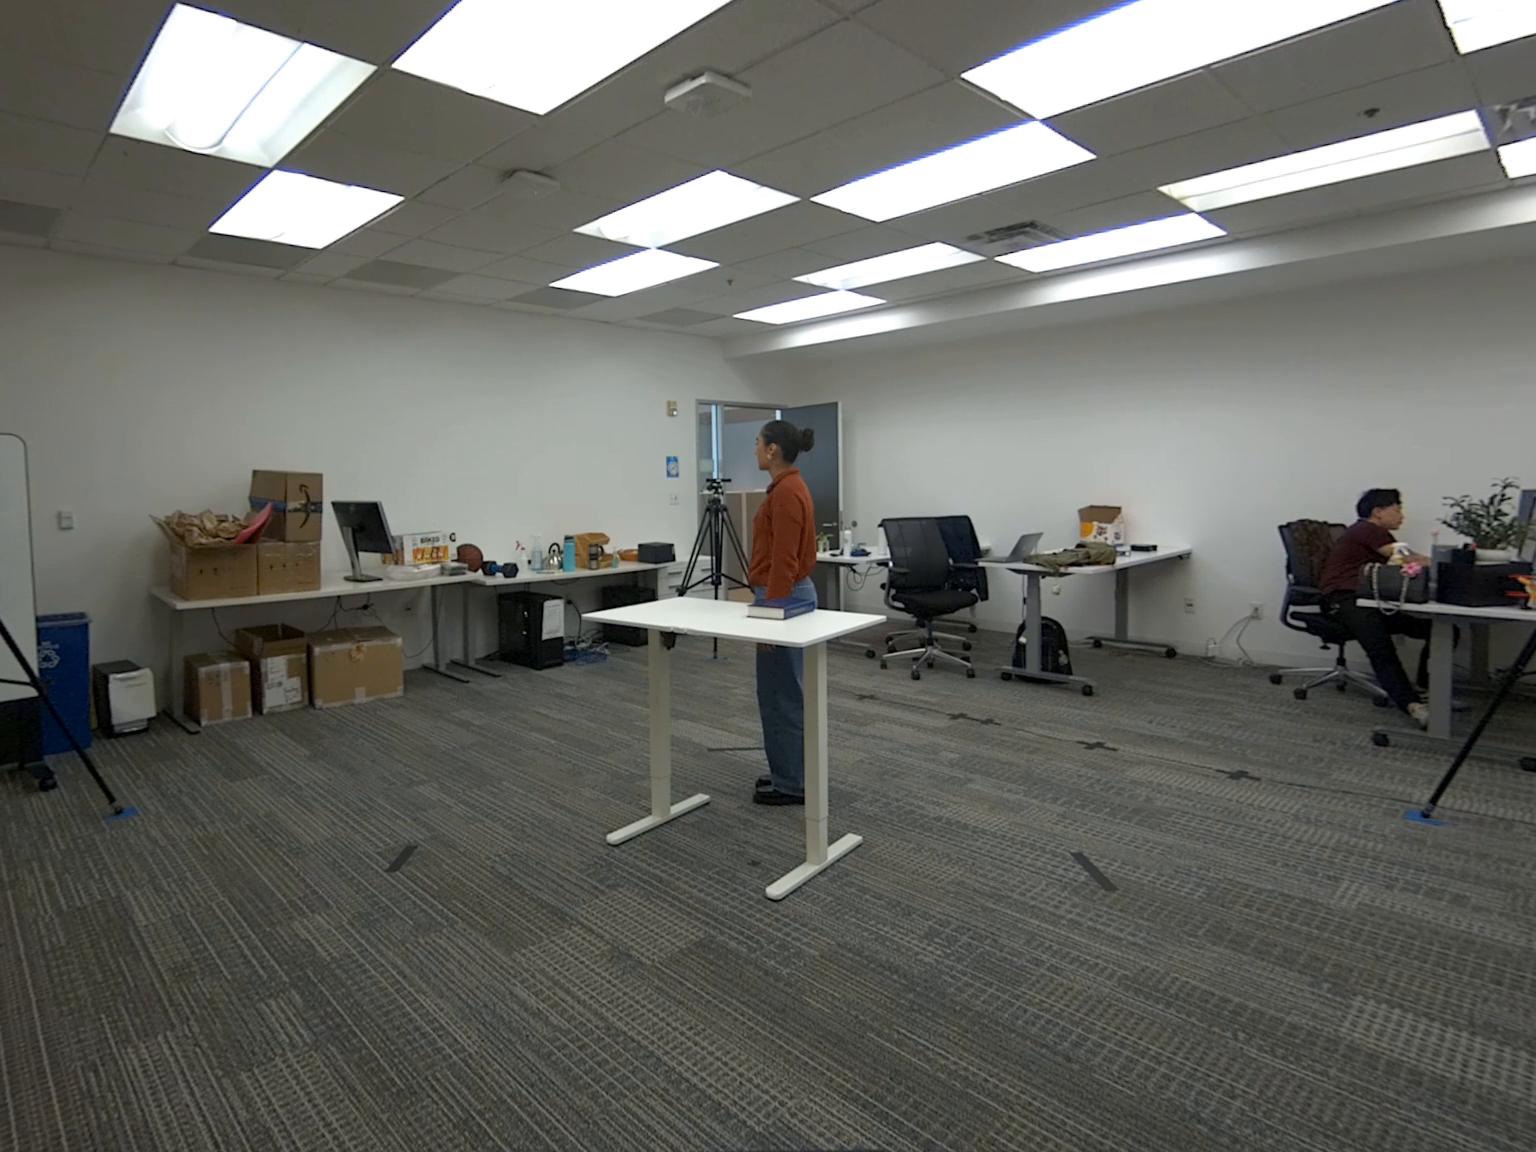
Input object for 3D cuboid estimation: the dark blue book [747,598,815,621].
[{"bbox_3d":[0.043,0.124,3.247,0.168,0.045,0.240,3,7,30],"label":"dark blue book"}]
